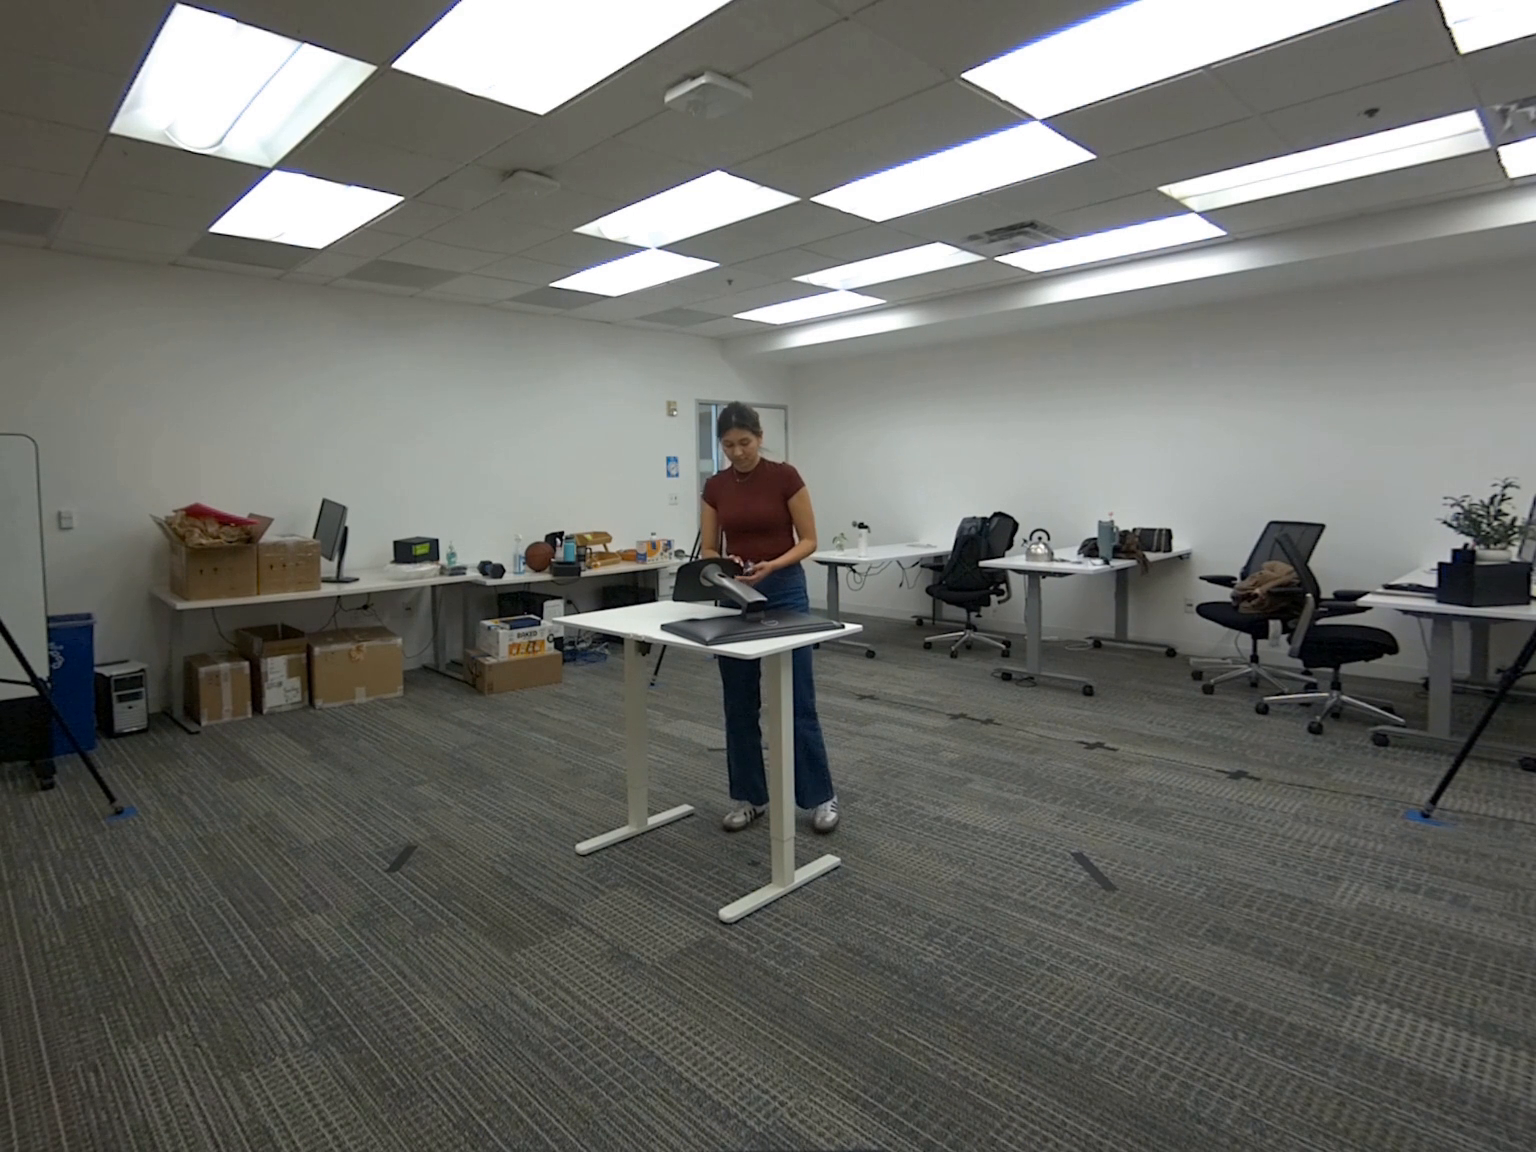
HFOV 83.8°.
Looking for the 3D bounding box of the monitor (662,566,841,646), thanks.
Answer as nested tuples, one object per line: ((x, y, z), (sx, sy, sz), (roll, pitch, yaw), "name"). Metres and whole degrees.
((-0.105, 0.112, 3.005), (0.528, 0.184, 0.542), (-6, 24, -27), "monitor")
